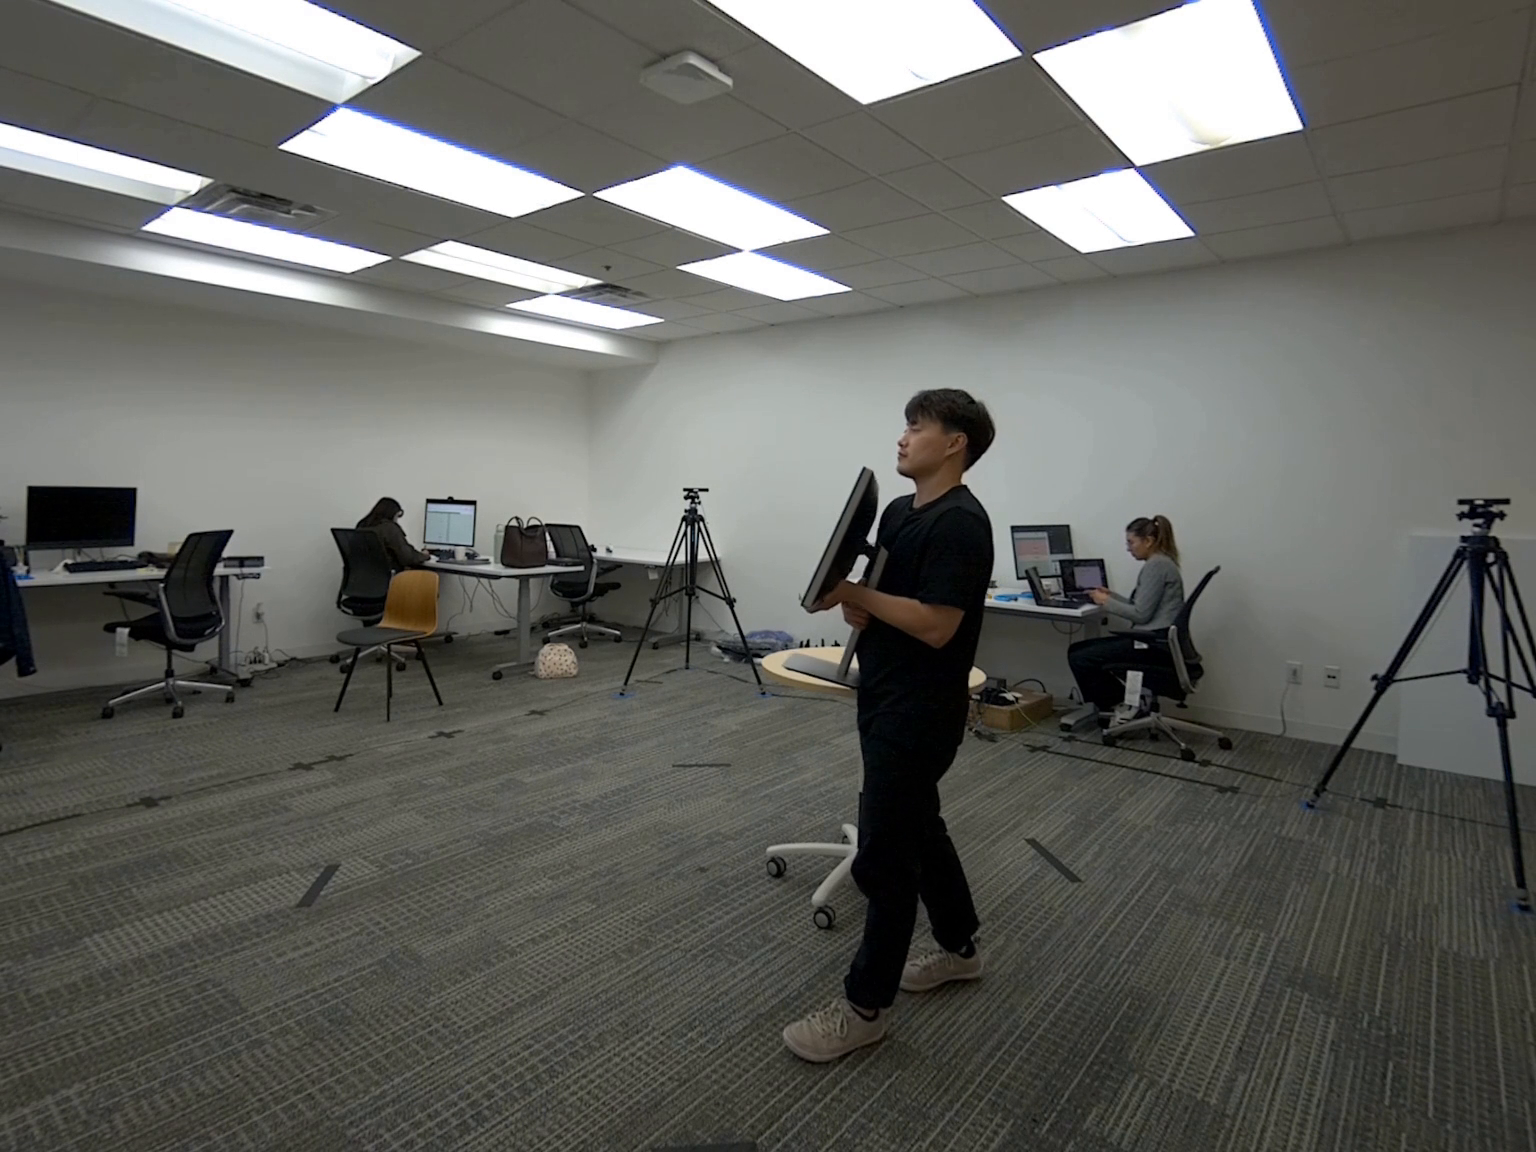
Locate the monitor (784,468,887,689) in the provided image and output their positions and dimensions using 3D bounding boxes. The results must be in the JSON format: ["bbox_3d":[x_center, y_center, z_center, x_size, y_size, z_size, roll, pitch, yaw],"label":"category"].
[{"bbox_3d":[0.207,-0.002,2.278,0.189,0.522,0.534,12,3,6],"label":"monitor"}]
